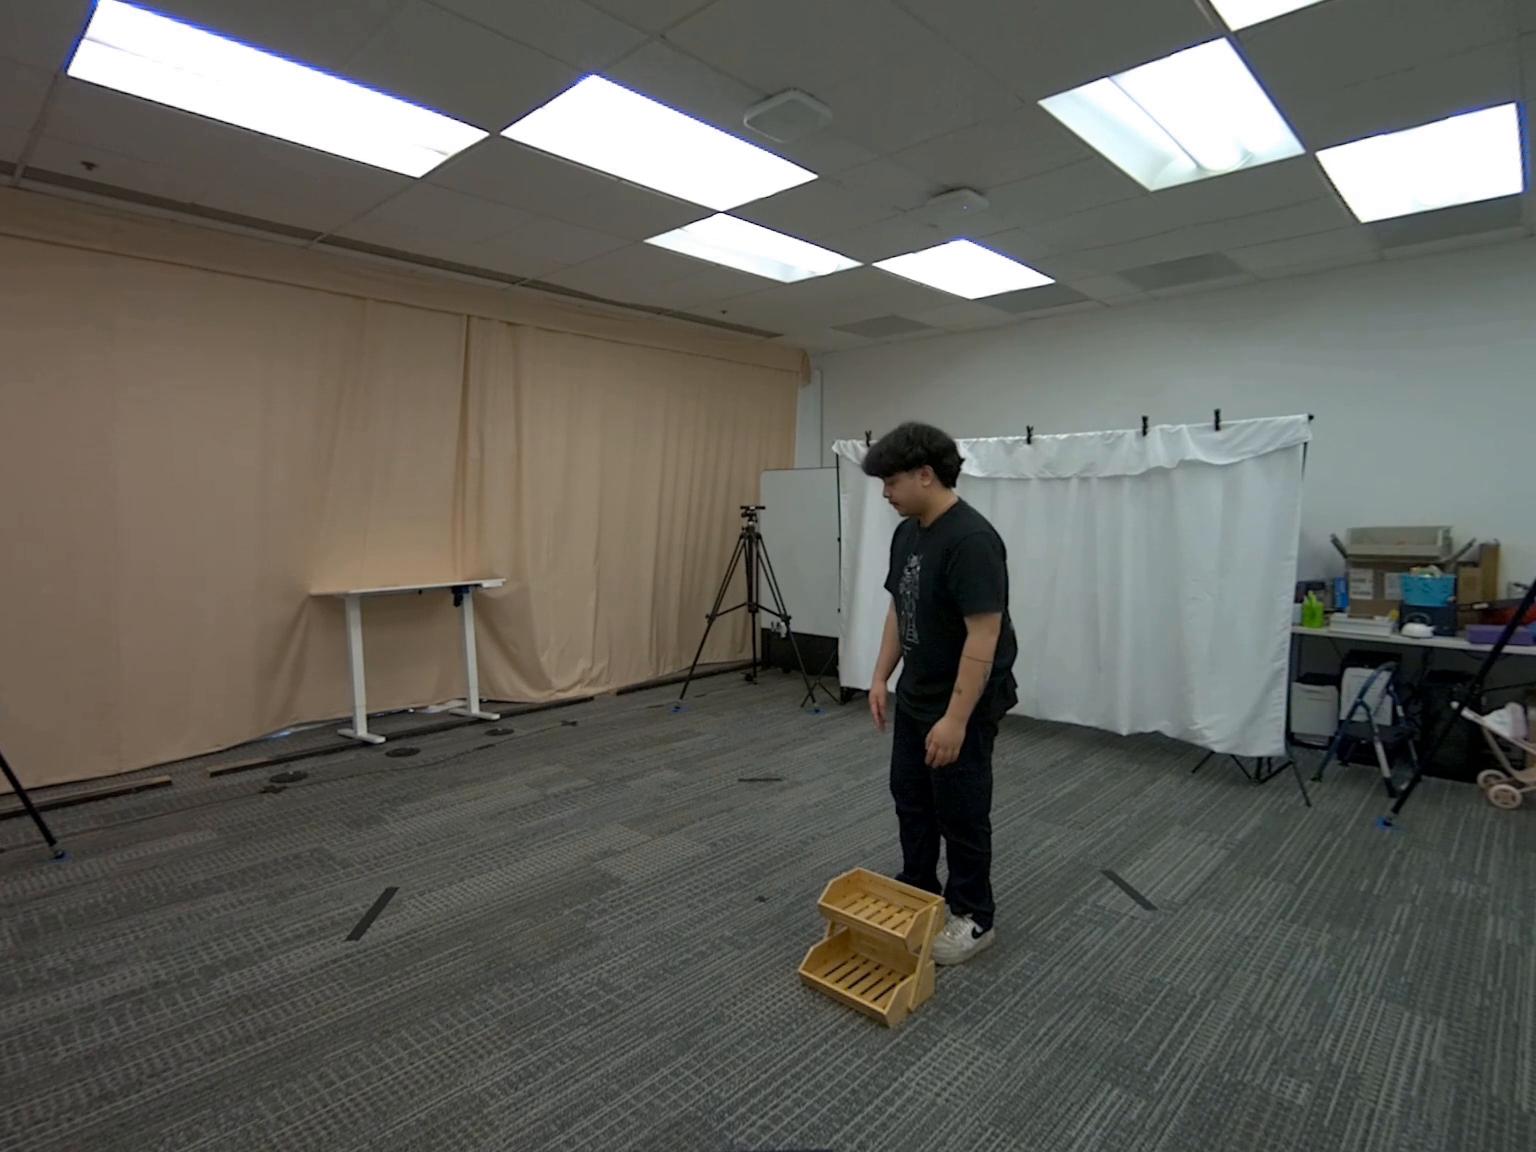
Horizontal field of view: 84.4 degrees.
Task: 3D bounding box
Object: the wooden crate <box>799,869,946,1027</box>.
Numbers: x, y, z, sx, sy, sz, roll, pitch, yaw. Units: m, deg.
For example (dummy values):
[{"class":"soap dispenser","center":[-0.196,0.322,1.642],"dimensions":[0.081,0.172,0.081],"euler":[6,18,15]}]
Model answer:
[{"class":"wooden crate","center":[0.300,1.050,2.435],"dimensions":[0.335,0.273,0.293],"euler":[3,5,42]}]
